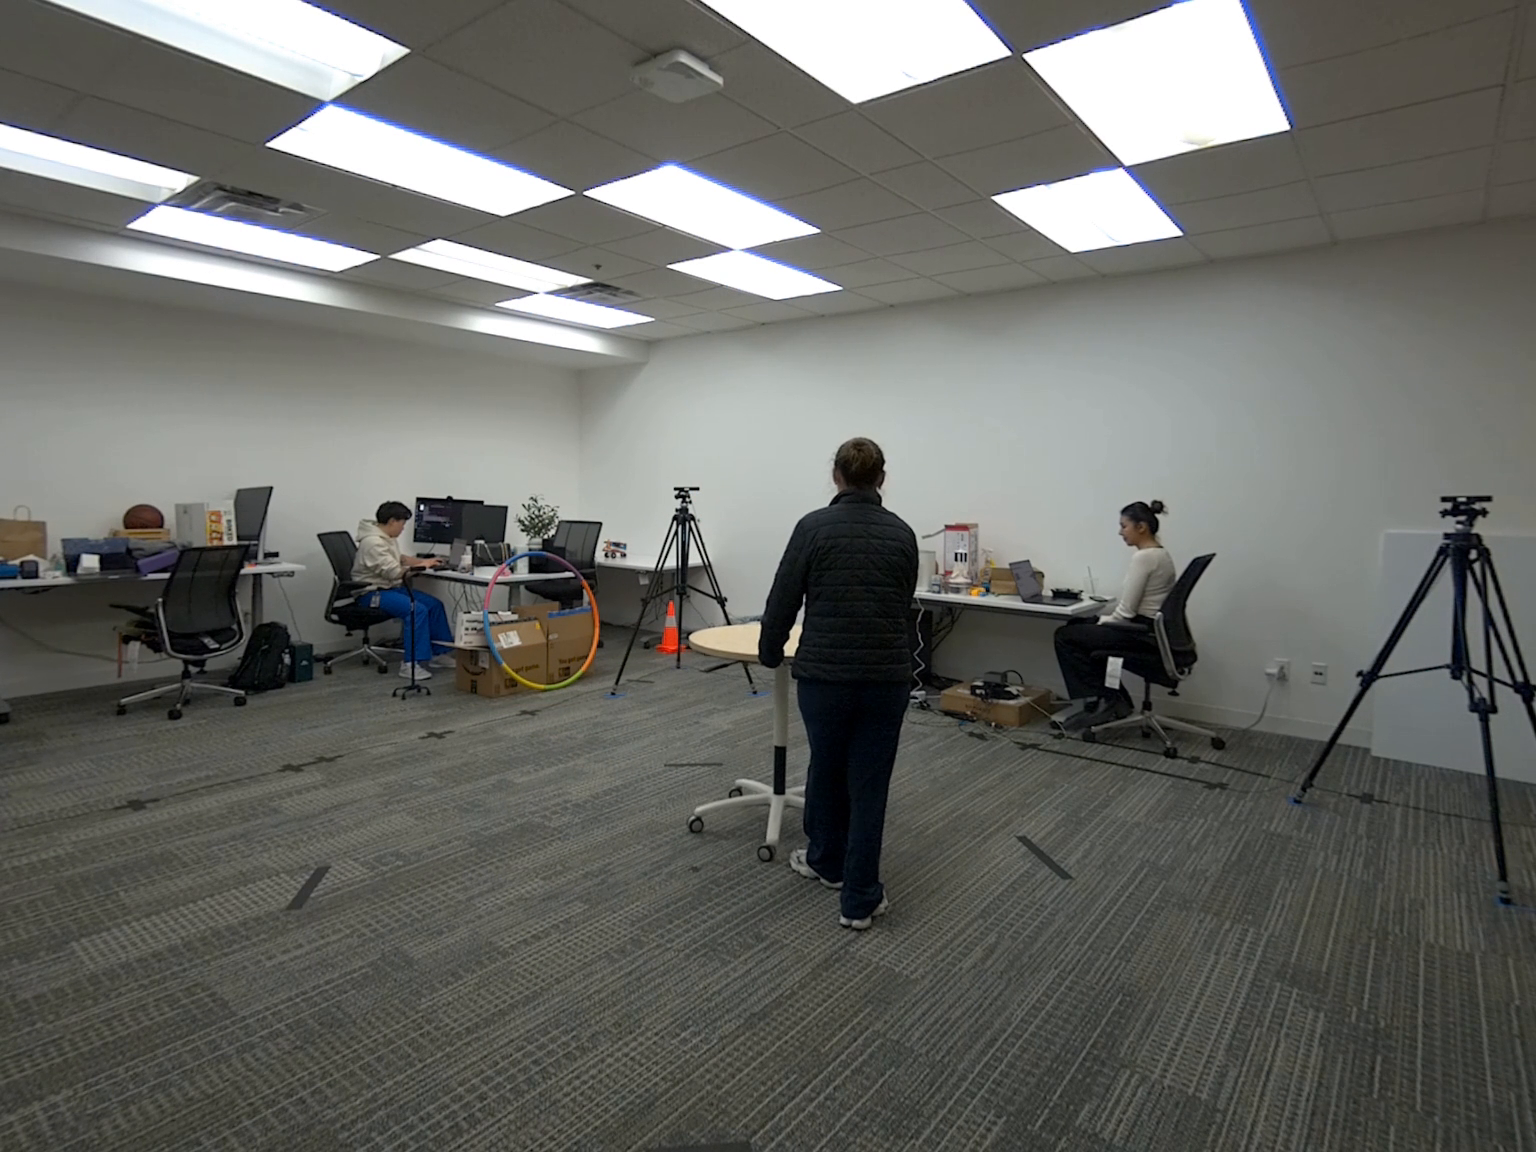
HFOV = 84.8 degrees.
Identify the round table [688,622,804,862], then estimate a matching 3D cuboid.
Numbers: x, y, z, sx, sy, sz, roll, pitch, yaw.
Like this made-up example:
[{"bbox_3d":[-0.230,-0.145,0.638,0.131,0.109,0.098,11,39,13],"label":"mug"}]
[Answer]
[{"bbox_3d":[0.062,0.640,3.493,0.784,0.784,0.789,1,4,-2],"label":"round table"}]
